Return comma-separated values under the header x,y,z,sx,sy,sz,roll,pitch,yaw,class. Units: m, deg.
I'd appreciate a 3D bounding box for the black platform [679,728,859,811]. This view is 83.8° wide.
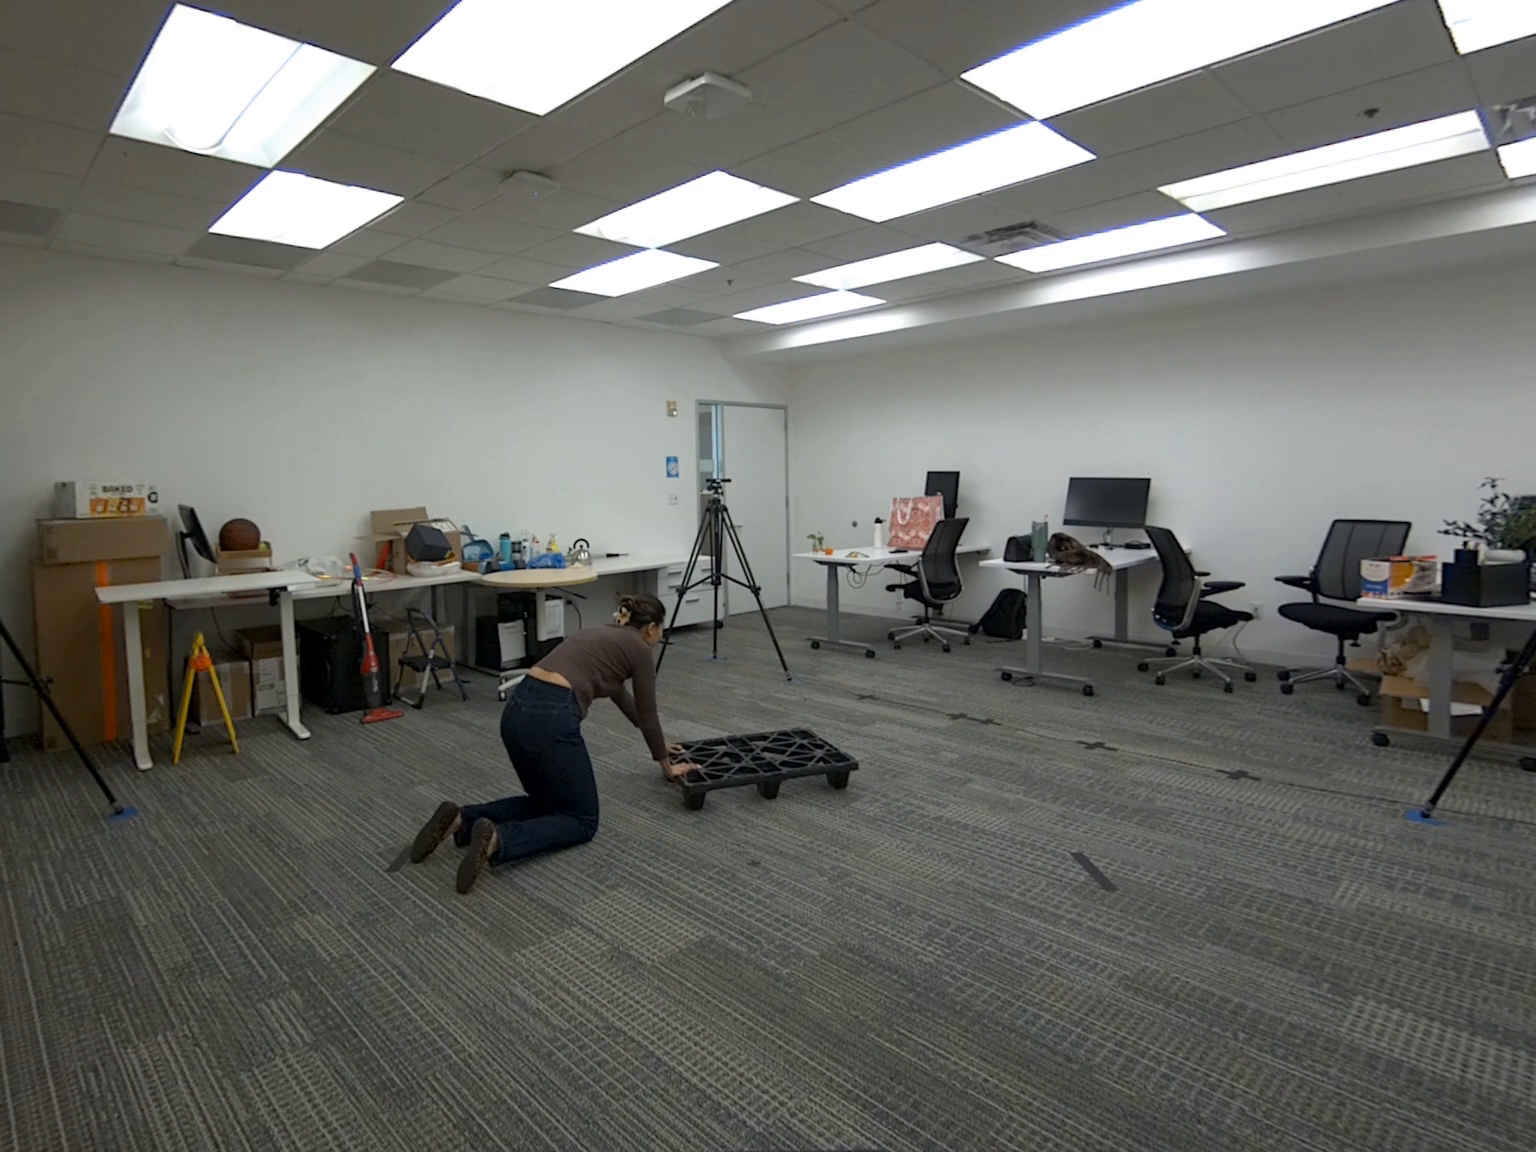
x,y,z,sx,sy,sz,roll,pitch,yaw,class
-0.075,0.883,3.941,0.792,0.143,0.617,-3,5,-19,black platform
